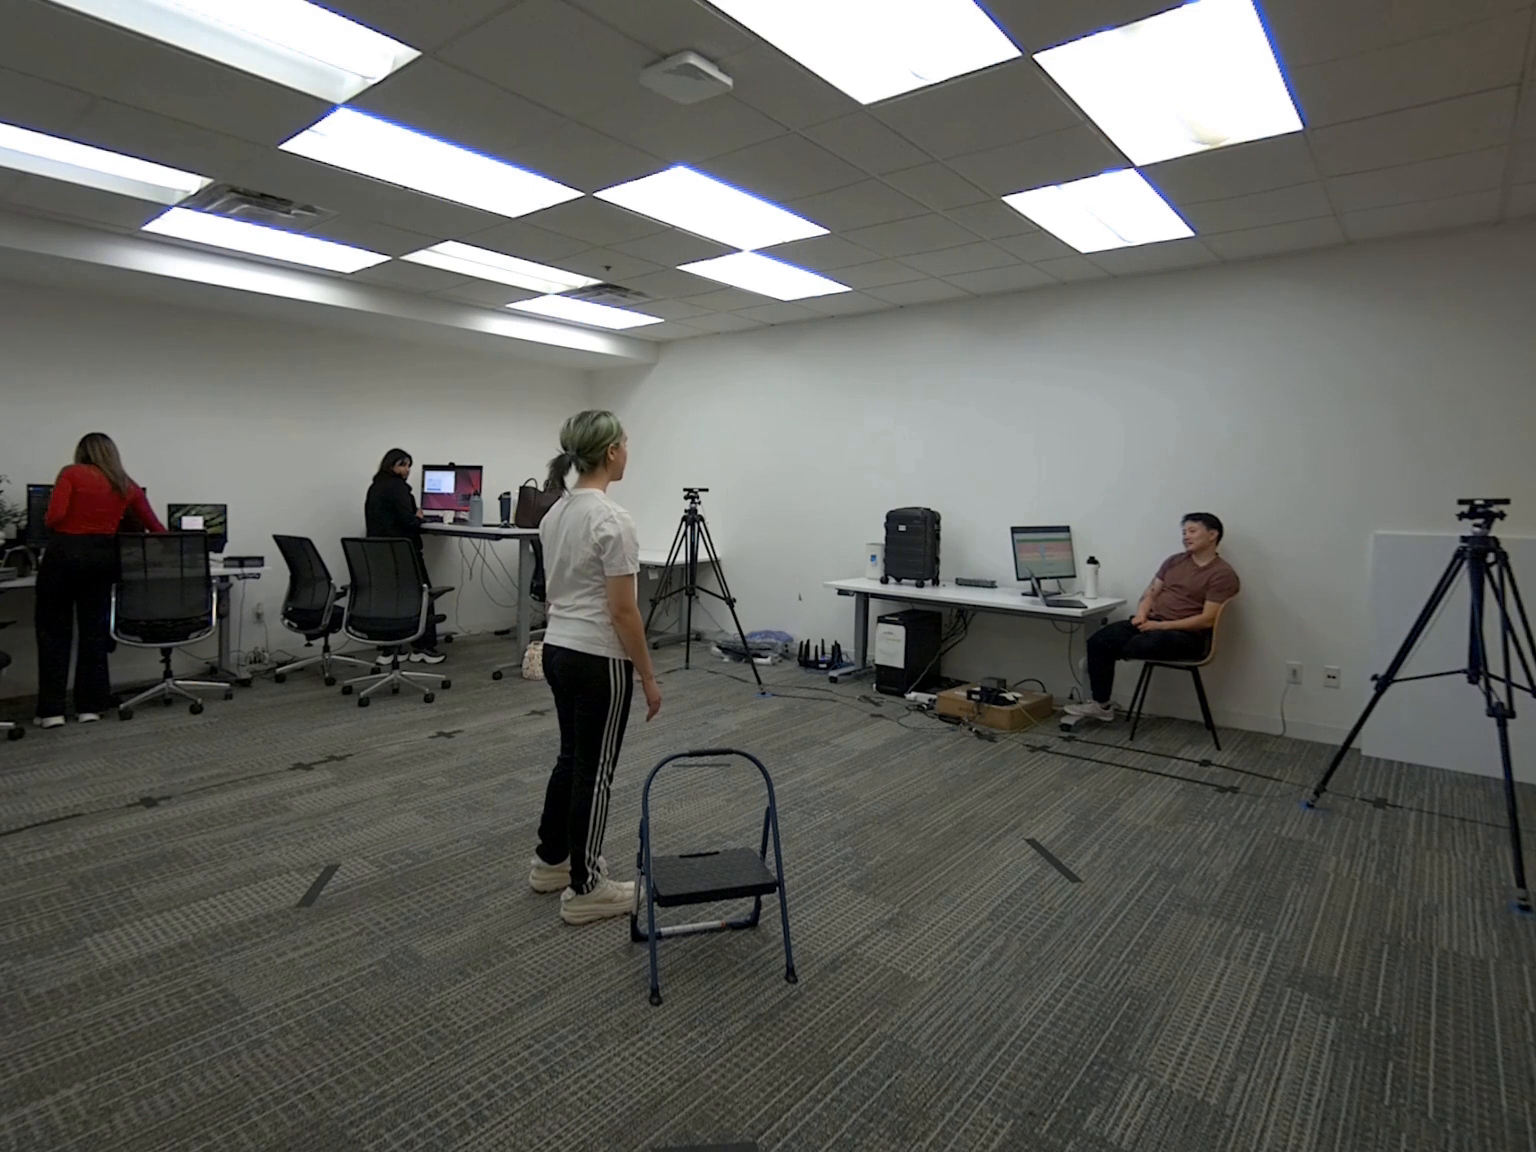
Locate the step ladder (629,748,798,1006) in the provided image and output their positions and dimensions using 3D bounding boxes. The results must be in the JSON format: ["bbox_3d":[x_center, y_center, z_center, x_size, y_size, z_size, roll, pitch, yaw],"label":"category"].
[{"bbox_3d":[-0.171,0.831,2.492,0.423,0.604,0.357,0,4,-19],"label":"step ladder"}]
